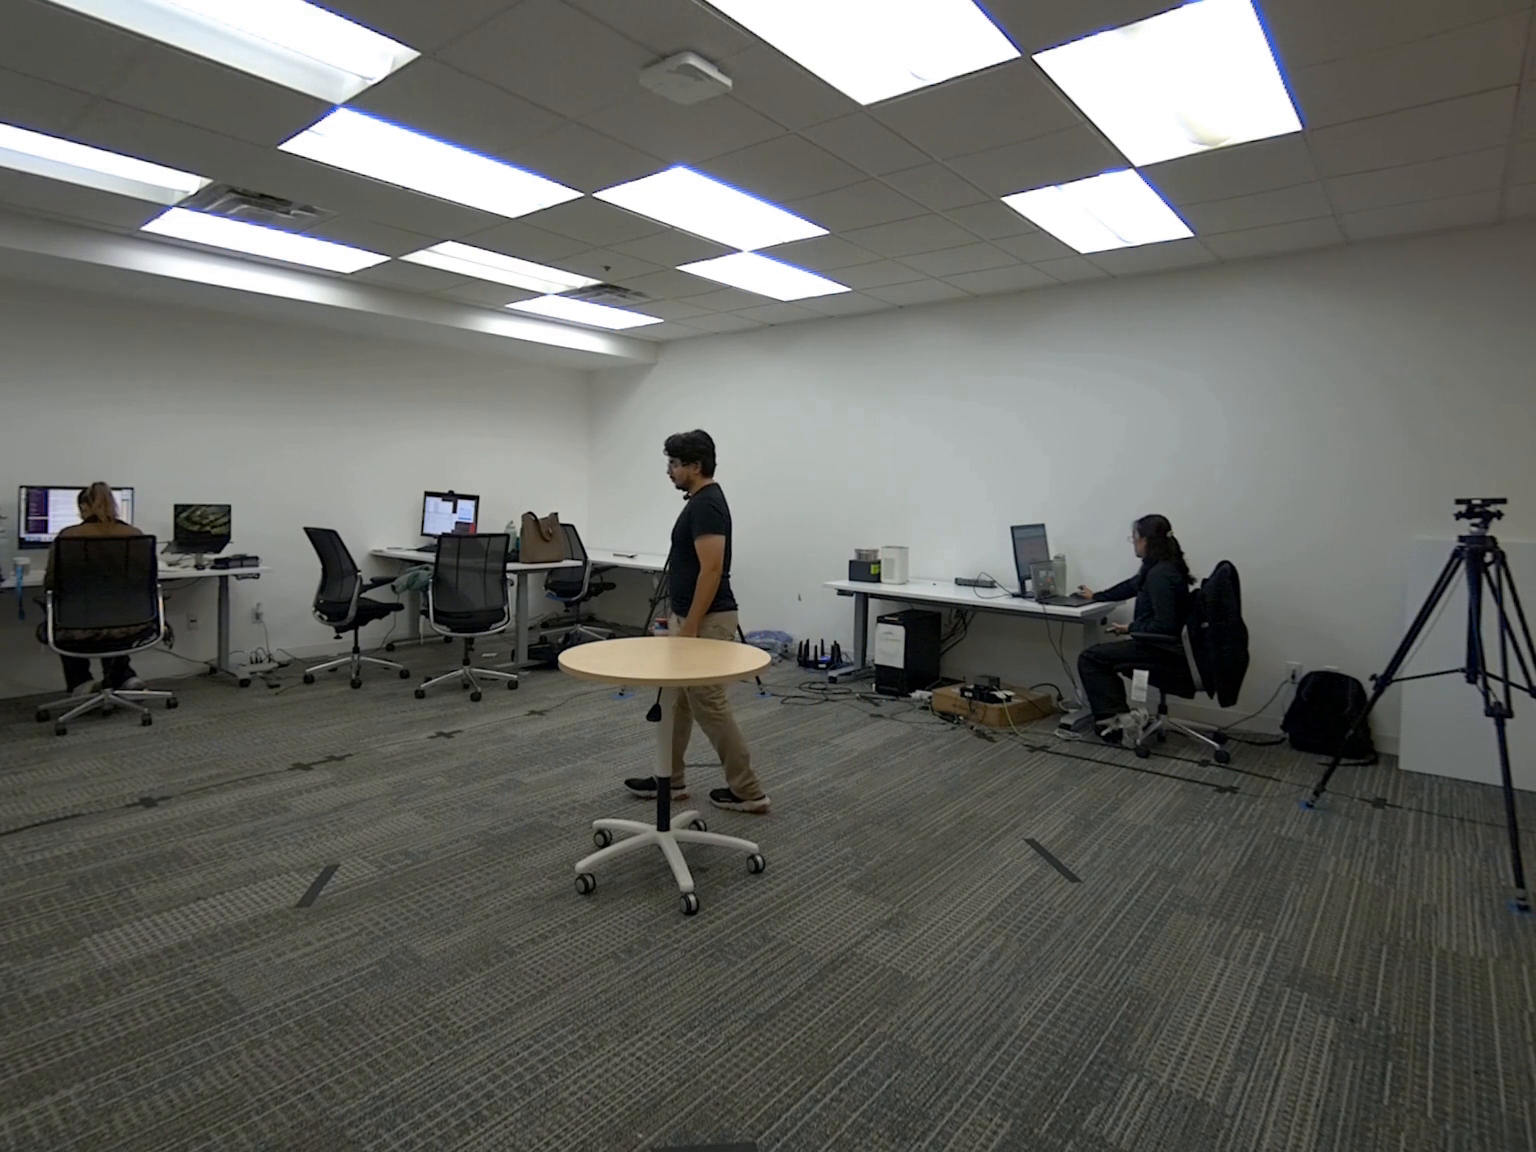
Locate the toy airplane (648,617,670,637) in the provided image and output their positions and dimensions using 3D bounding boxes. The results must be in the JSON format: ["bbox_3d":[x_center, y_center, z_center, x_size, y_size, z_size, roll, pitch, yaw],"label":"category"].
[{"bbox_3d":[-0.440,0.261,4.101,0.256,0.158,0.250,-13,-10,-13],"label":"toy airplane"}]
